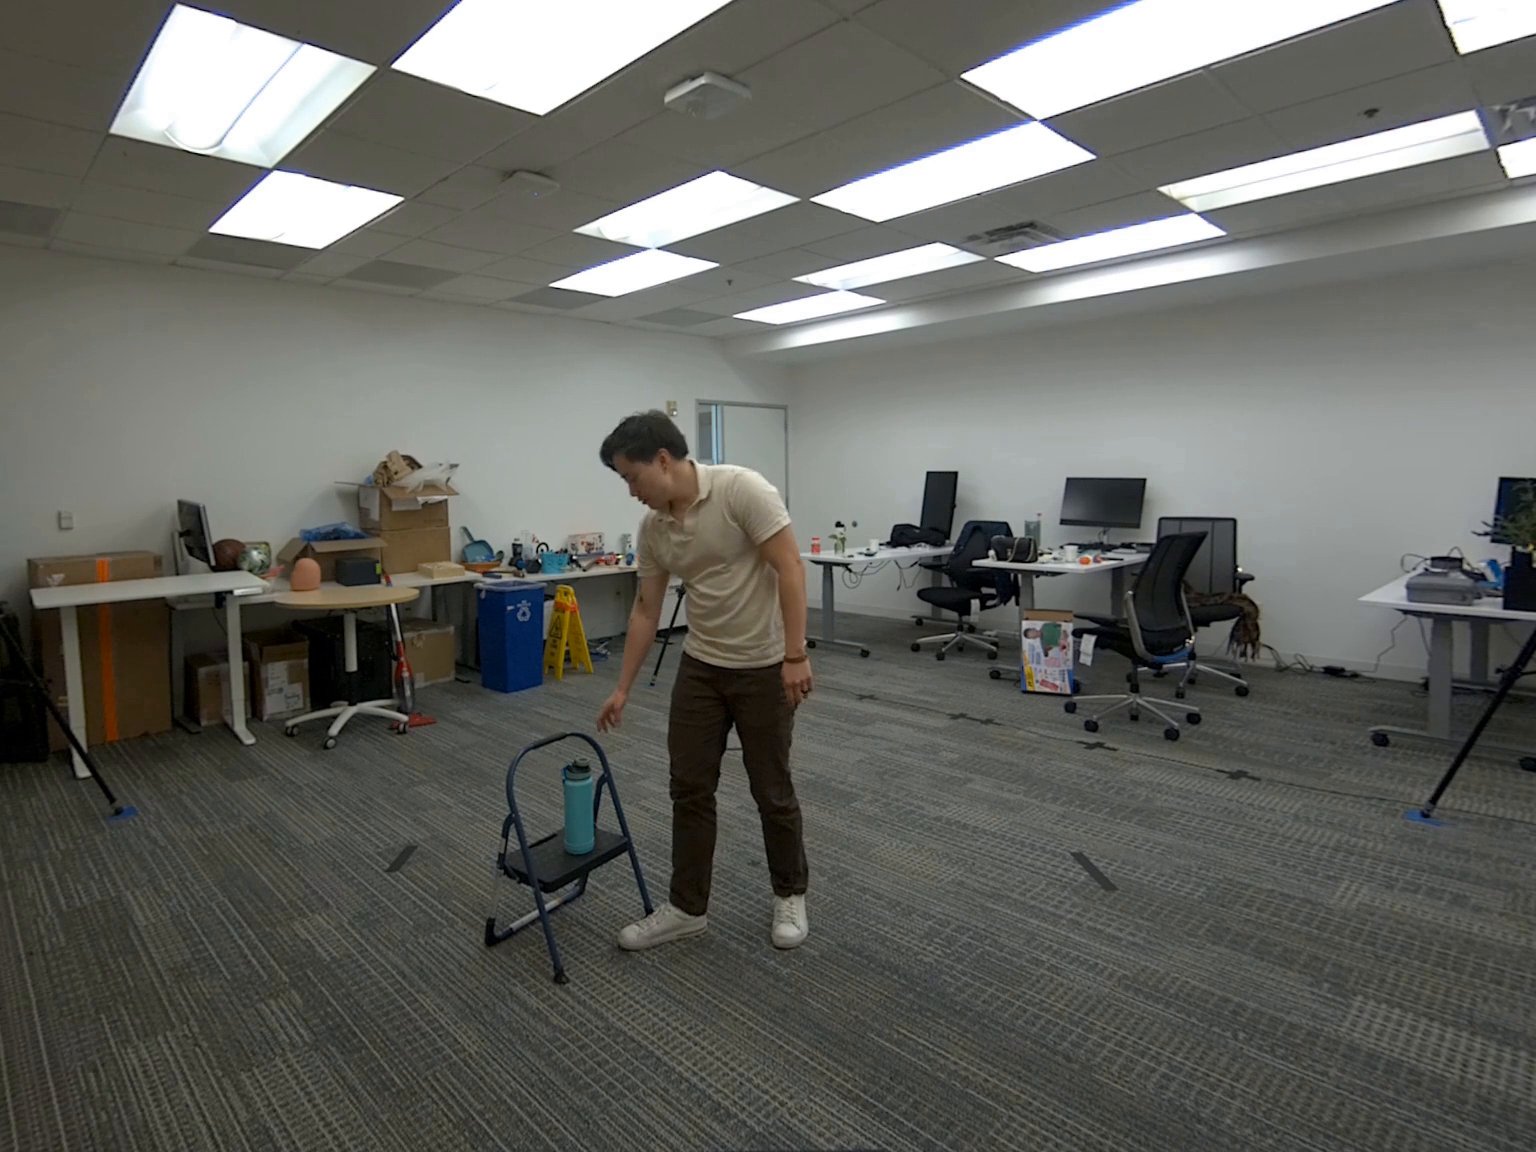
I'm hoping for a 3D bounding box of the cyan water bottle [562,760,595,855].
[{"bbox_3d":[-0.582,0.701,2.650,0.092,0.282,0.093,-2,4,-1],"label":"cyan water bottle"}]
